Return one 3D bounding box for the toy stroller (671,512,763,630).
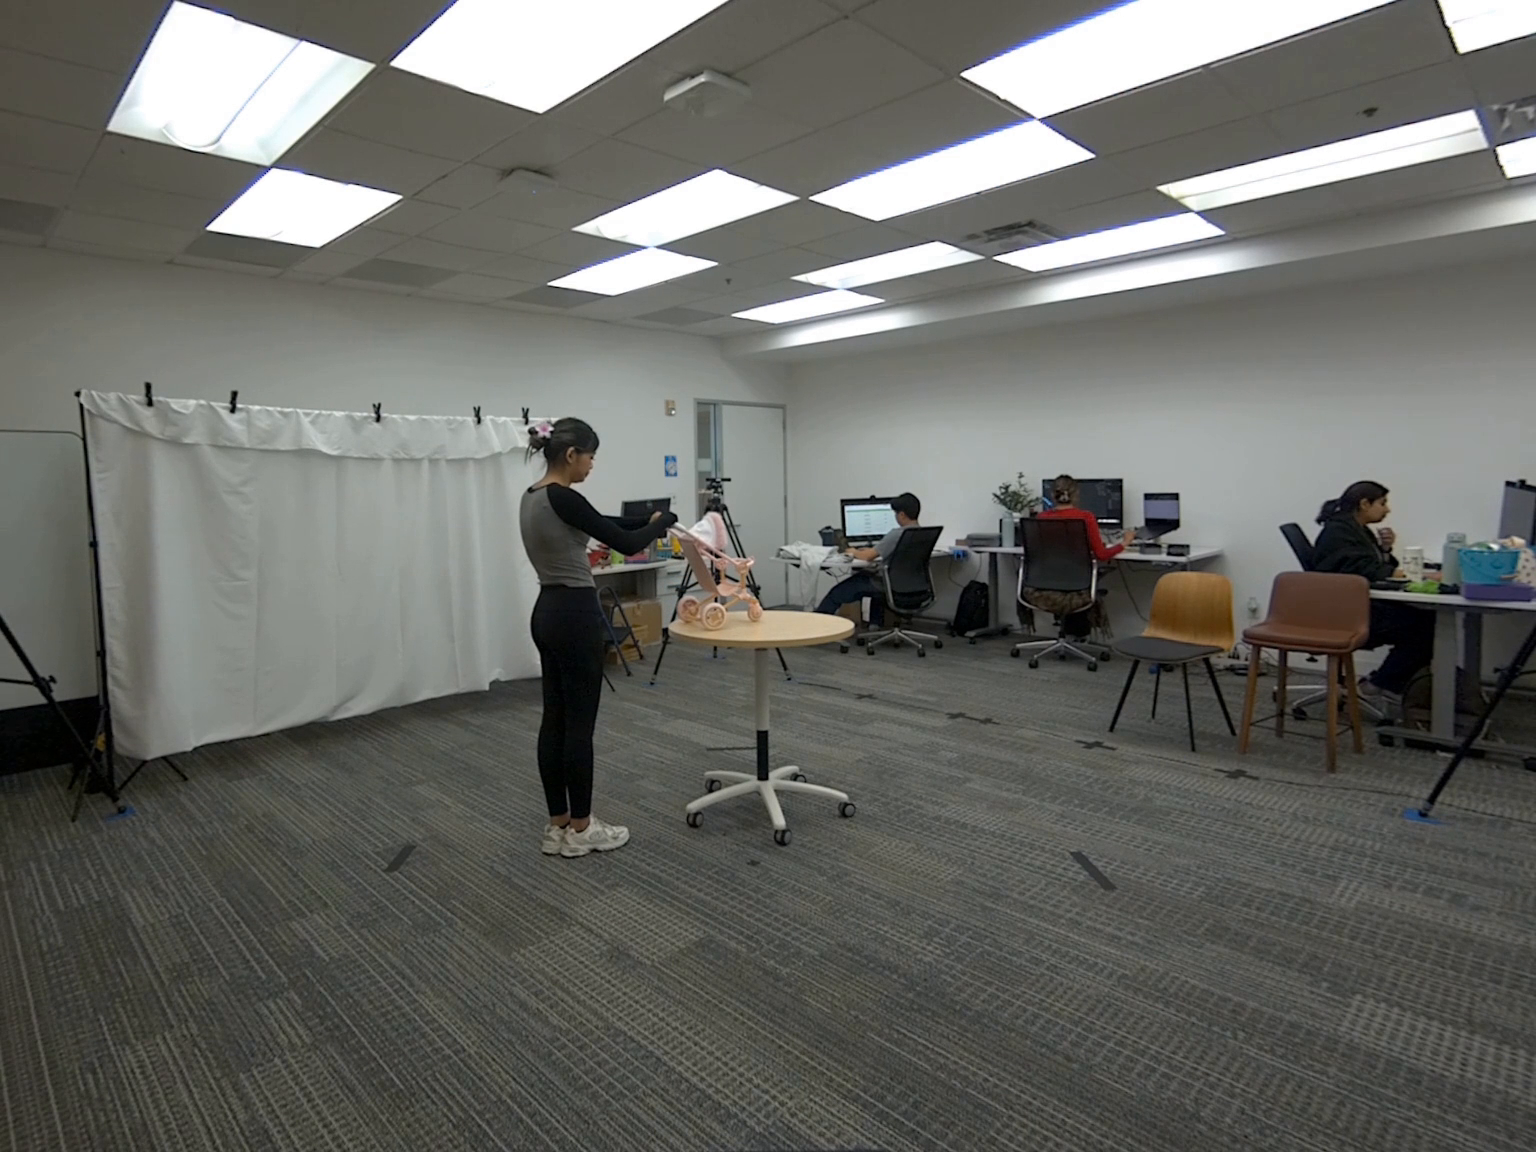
[{"bbox_3d":[-0.219,-0.022,3.525,0.337,0.530,0.288,-17,10,-21],"label":"toy stroller"}]
